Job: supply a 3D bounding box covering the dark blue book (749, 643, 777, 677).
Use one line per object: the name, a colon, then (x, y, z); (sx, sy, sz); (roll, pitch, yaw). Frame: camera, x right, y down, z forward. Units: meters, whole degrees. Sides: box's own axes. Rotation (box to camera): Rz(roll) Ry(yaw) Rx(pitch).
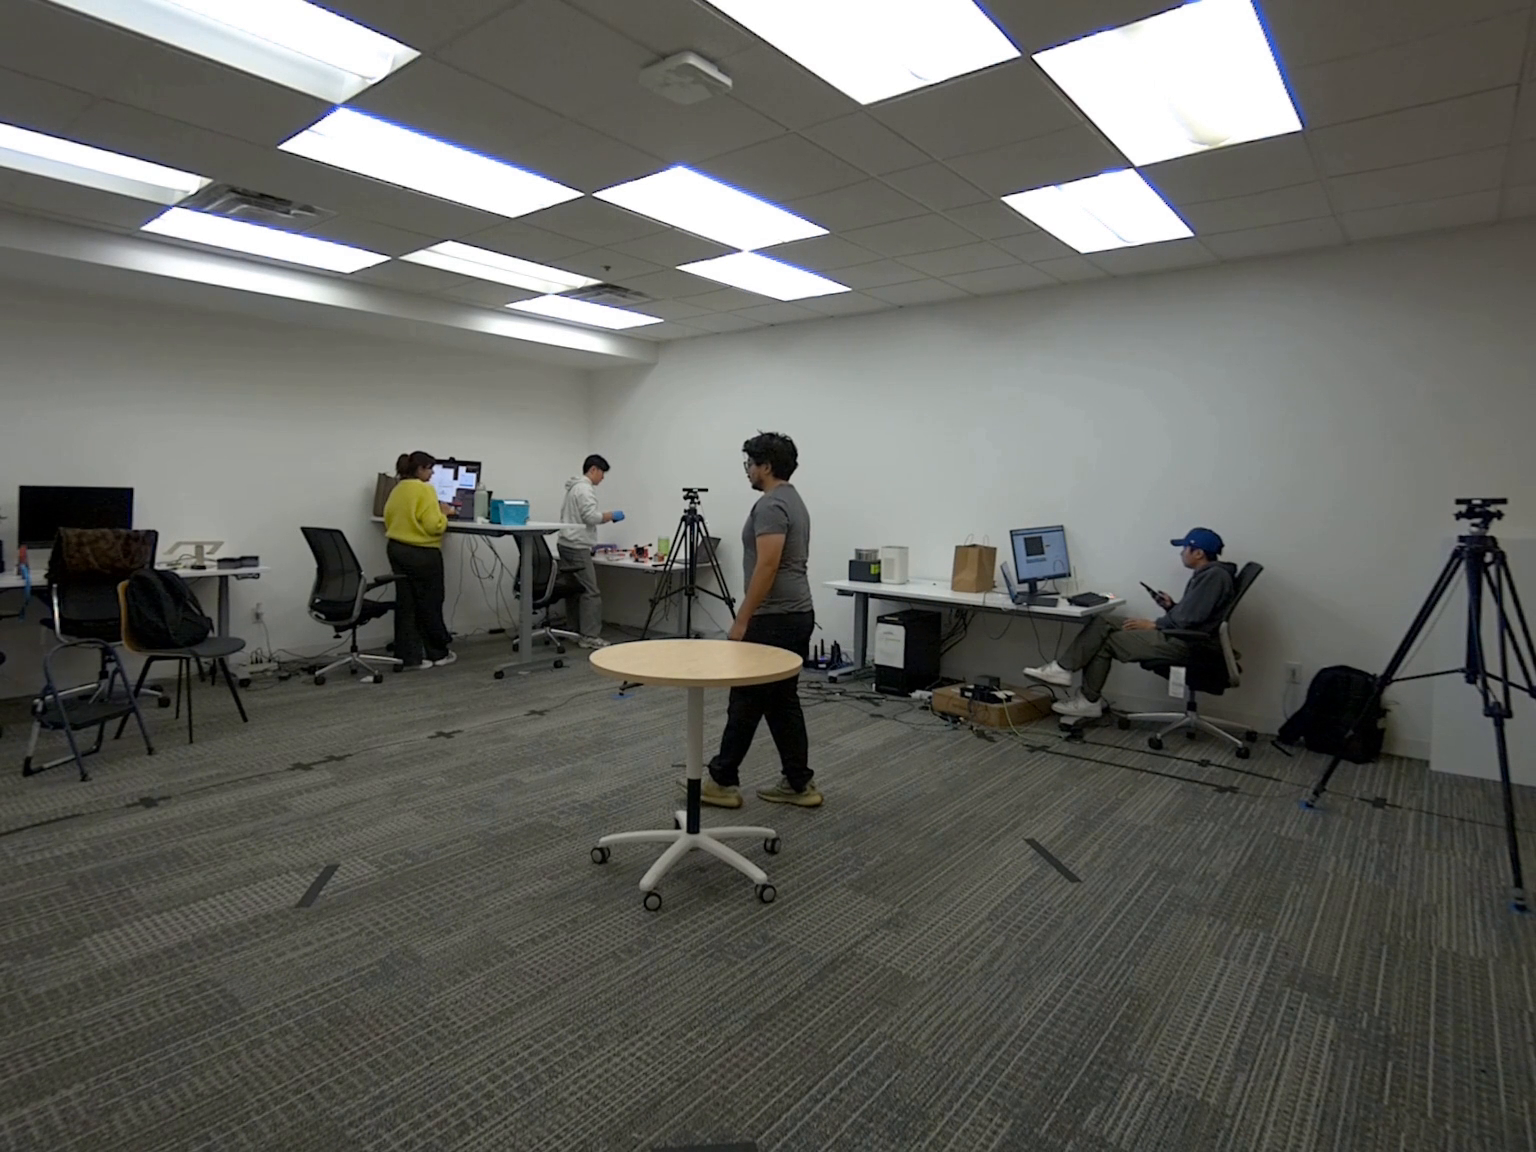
dark blue book: (-0.019, 0.358, 4.128); (0.044, 0.246, 0.167); (13, -8, -25)
